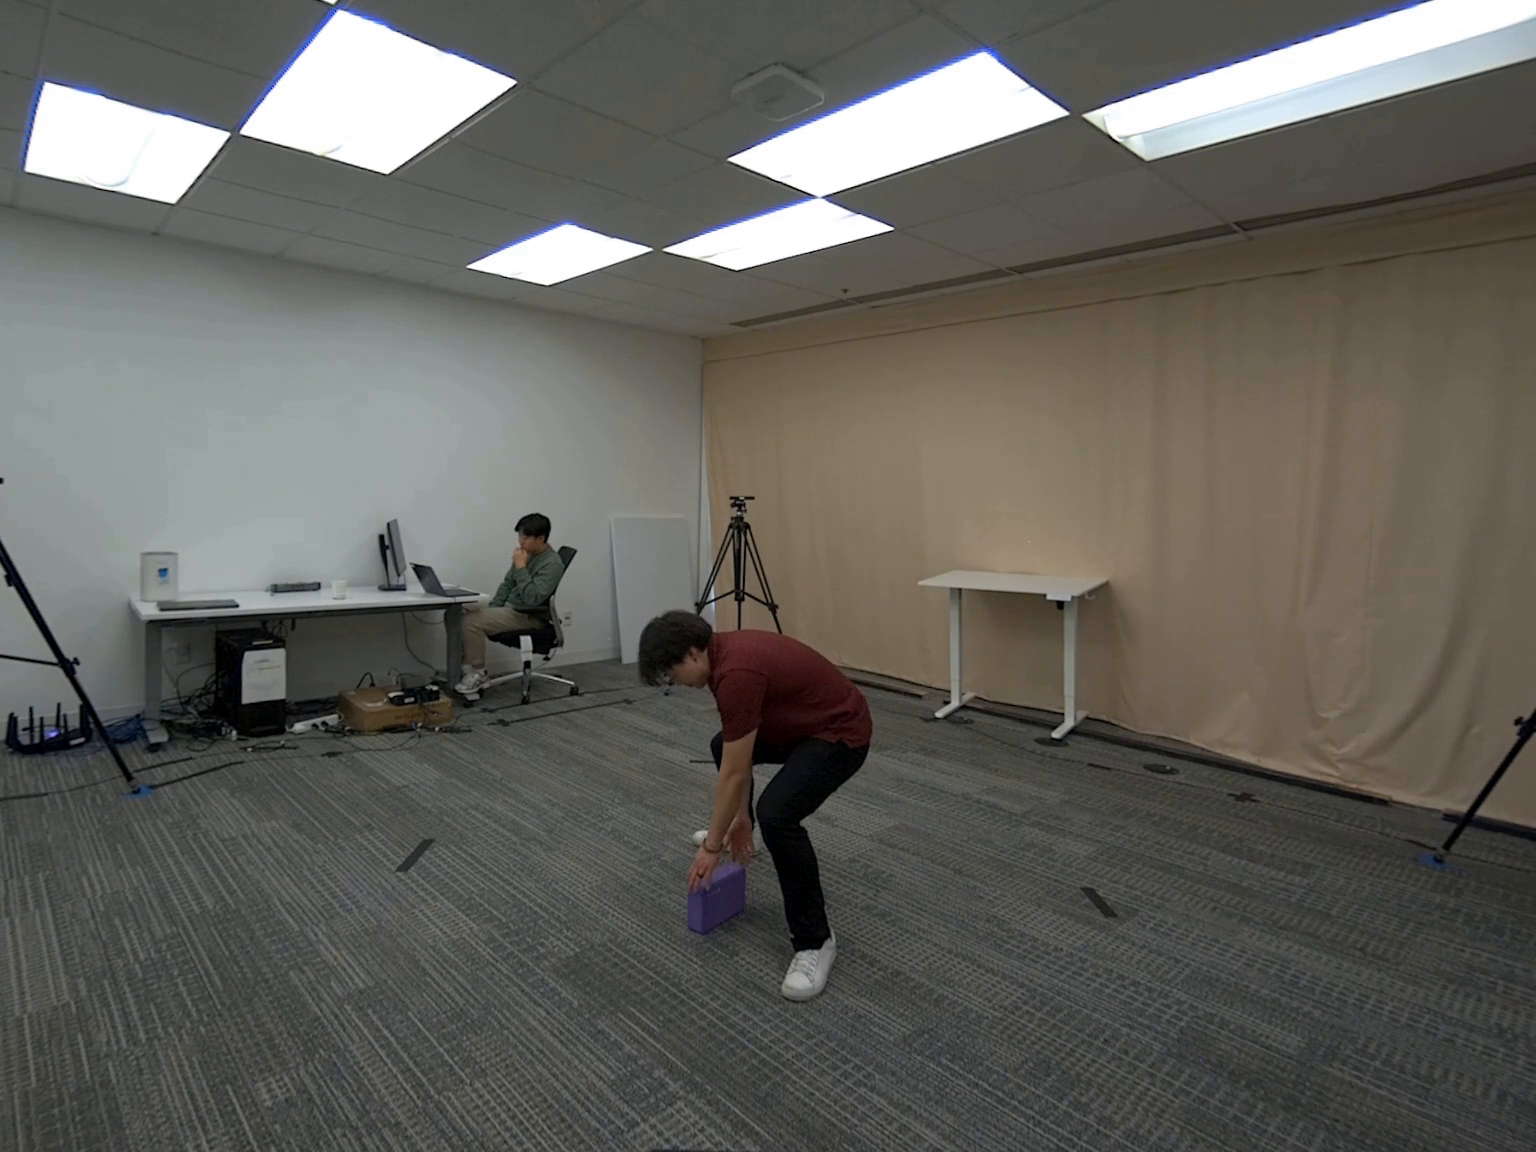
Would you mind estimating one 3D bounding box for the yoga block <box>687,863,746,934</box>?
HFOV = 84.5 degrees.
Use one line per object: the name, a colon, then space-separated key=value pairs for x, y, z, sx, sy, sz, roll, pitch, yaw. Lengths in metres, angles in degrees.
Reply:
yoga block: x=-0.176 y=1.058 z=2.768 sx=0.078 sy=0.148 sz=0.224 roll=4 pitch=6 yaw=36
